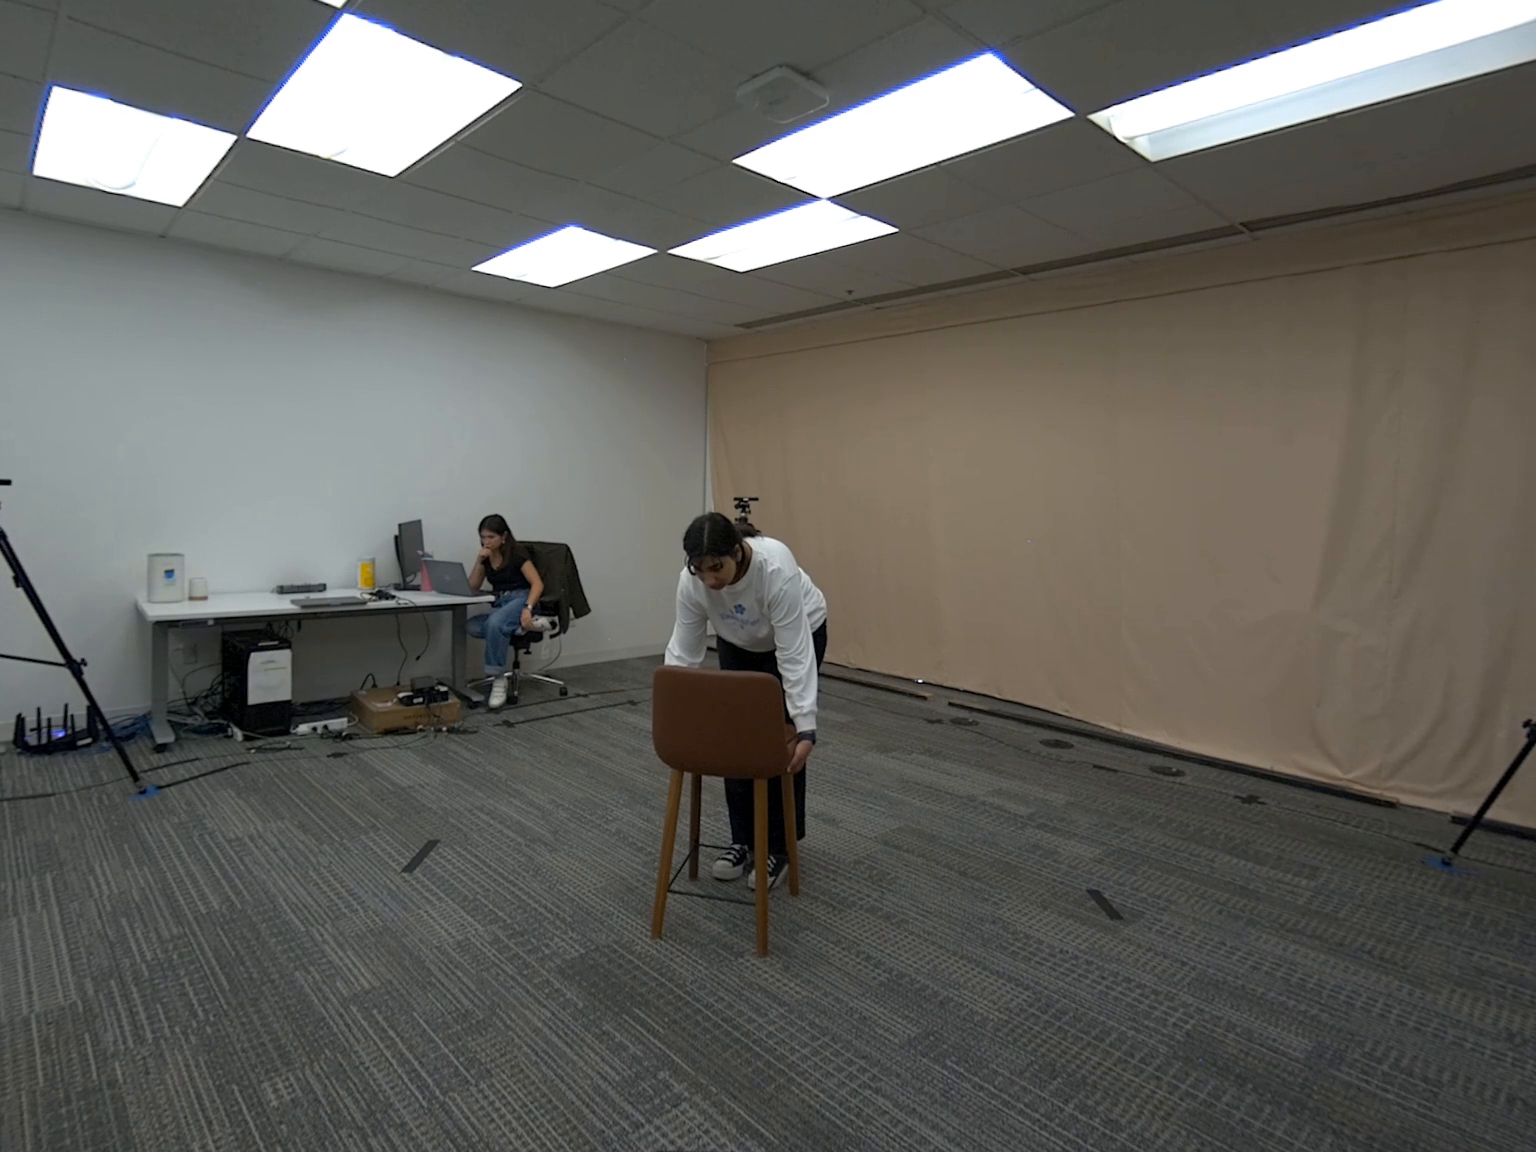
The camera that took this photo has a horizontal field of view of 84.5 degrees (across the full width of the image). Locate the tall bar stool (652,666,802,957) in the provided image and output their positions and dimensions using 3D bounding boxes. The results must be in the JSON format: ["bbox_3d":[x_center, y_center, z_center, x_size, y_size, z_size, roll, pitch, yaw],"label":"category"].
[{"bbox_3d":[-0.134,0.702,2.788,0.462,0.886,0.463,3,5,15],"label":"tall bar stool"}]
